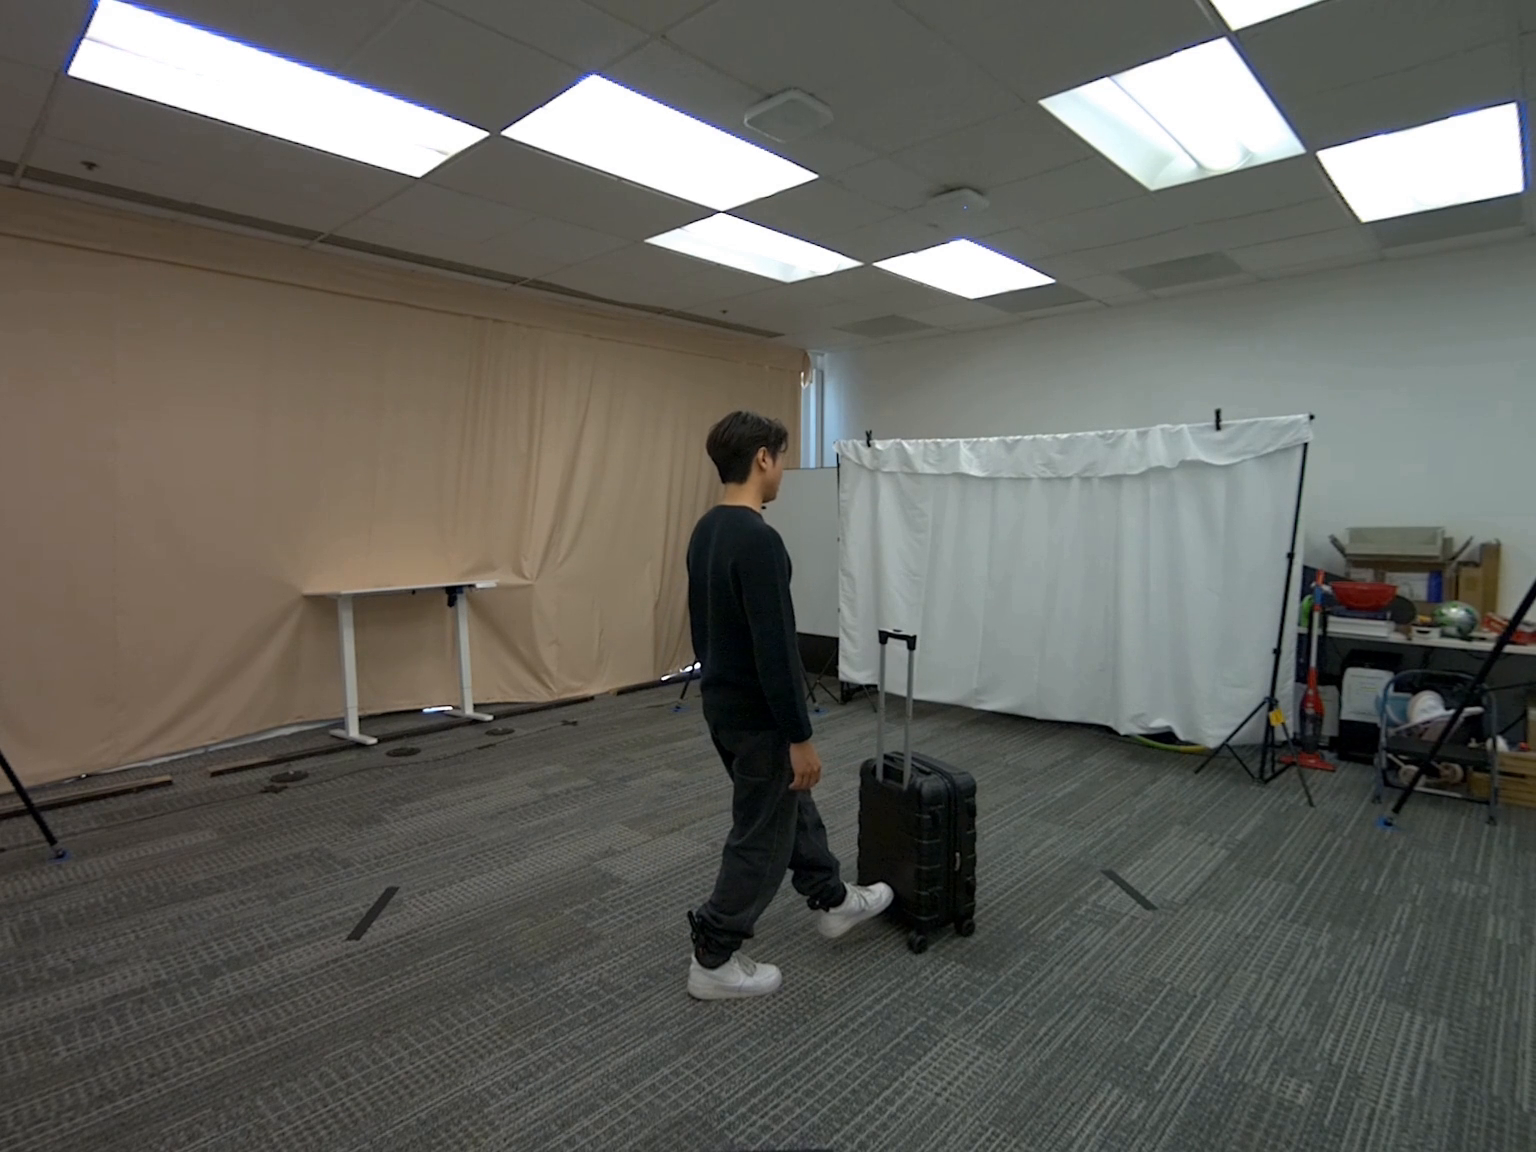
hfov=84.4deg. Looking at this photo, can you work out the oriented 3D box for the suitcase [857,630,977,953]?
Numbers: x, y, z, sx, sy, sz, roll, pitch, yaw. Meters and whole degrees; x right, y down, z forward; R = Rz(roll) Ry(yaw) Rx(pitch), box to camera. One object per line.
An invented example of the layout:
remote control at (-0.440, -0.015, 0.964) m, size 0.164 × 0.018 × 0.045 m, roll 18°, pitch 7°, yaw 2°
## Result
suitcase at (0.505, 0.680, 2.802) m, size 0.250 × 0.977 × 0.395 m, roll 1°, pitch 2°, yaw -30°
